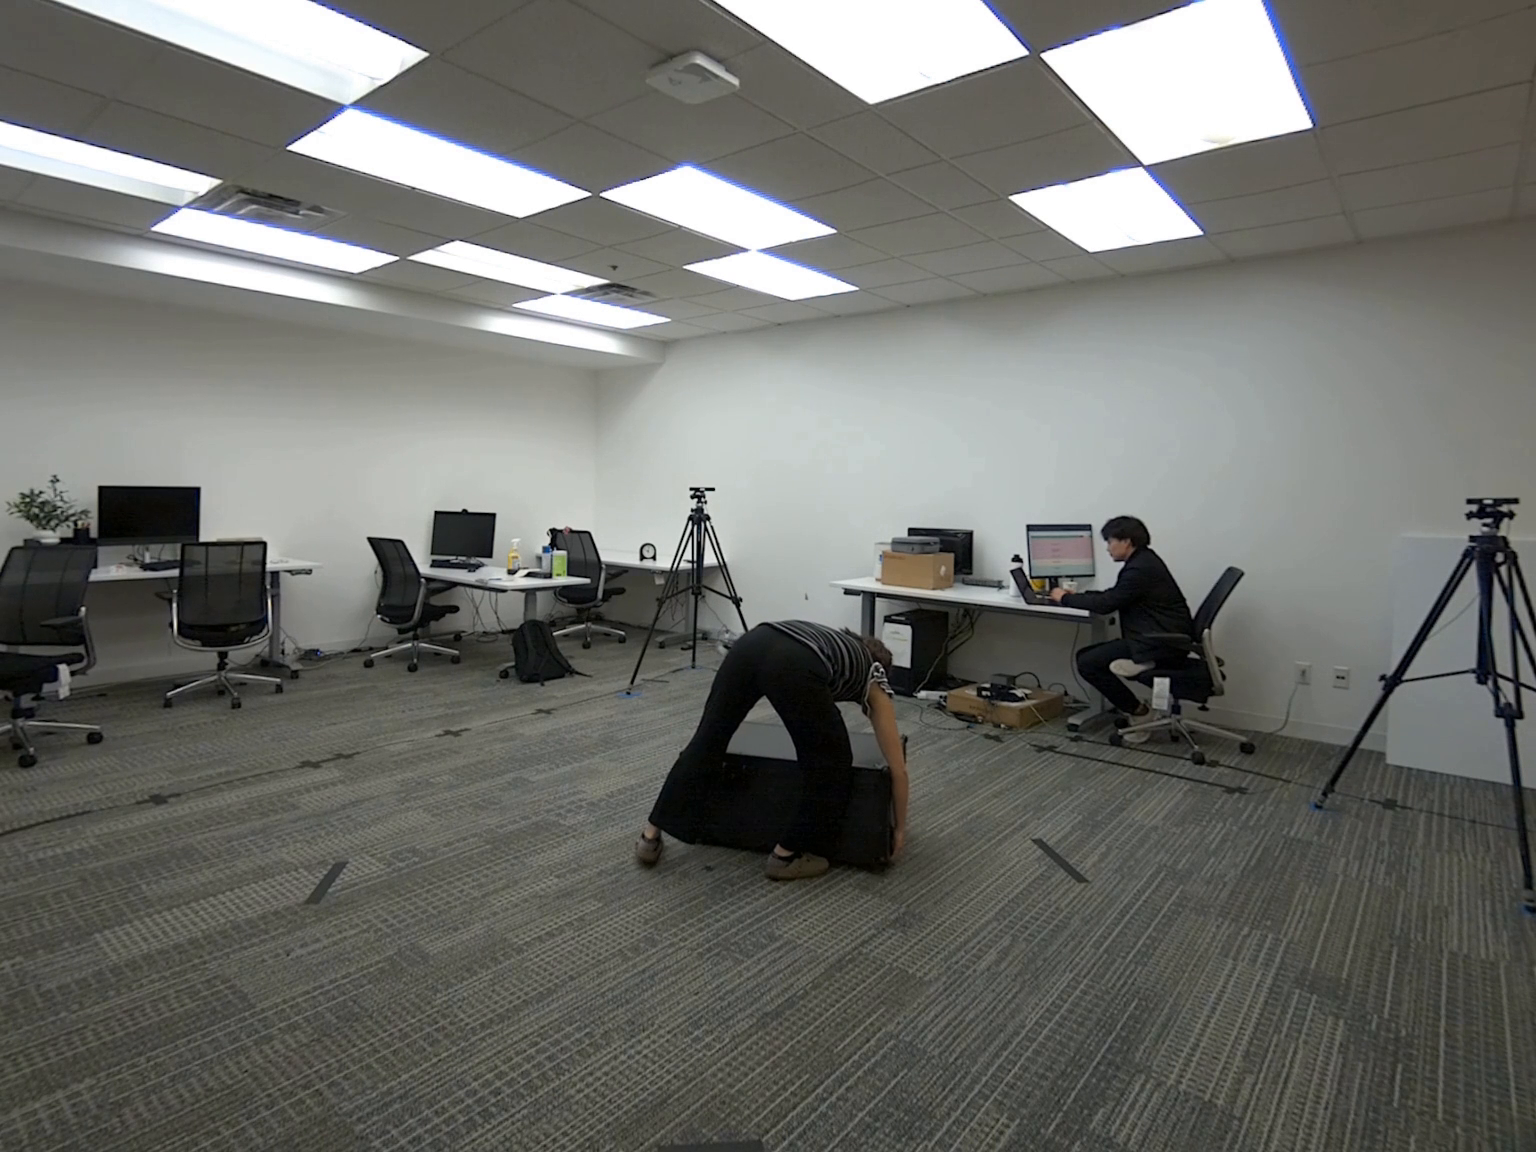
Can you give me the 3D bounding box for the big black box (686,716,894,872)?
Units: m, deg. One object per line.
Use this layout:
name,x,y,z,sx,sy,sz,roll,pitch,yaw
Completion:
big black box,0.089,0.839,3.428,0.879,0.395,0.513,2,6,18
